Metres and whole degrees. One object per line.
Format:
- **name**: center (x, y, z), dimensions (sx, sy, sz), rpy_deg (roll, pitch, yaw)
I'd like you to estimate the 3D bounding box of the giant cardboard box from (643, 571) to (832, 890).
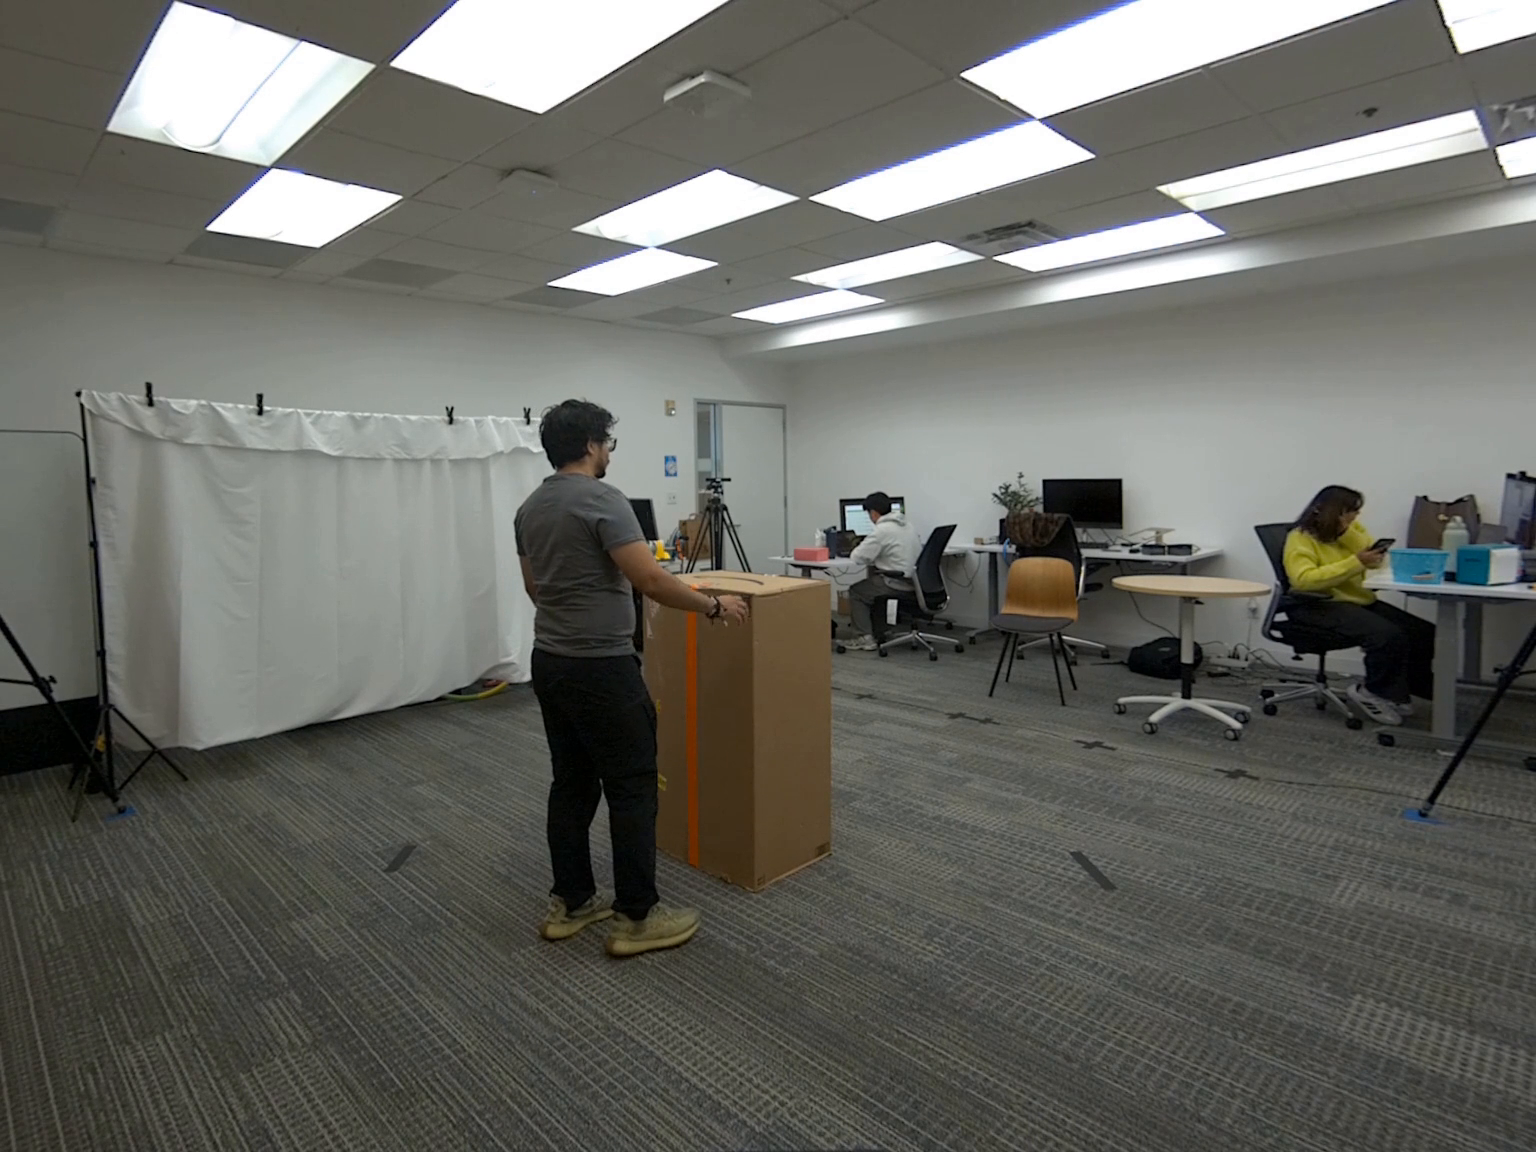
- **giant cardboard box**: center (-0.119, 0.525, 3.190), dimensions (0.595, 1.022, 0.415), rpy_deg (3, 6, 45)
